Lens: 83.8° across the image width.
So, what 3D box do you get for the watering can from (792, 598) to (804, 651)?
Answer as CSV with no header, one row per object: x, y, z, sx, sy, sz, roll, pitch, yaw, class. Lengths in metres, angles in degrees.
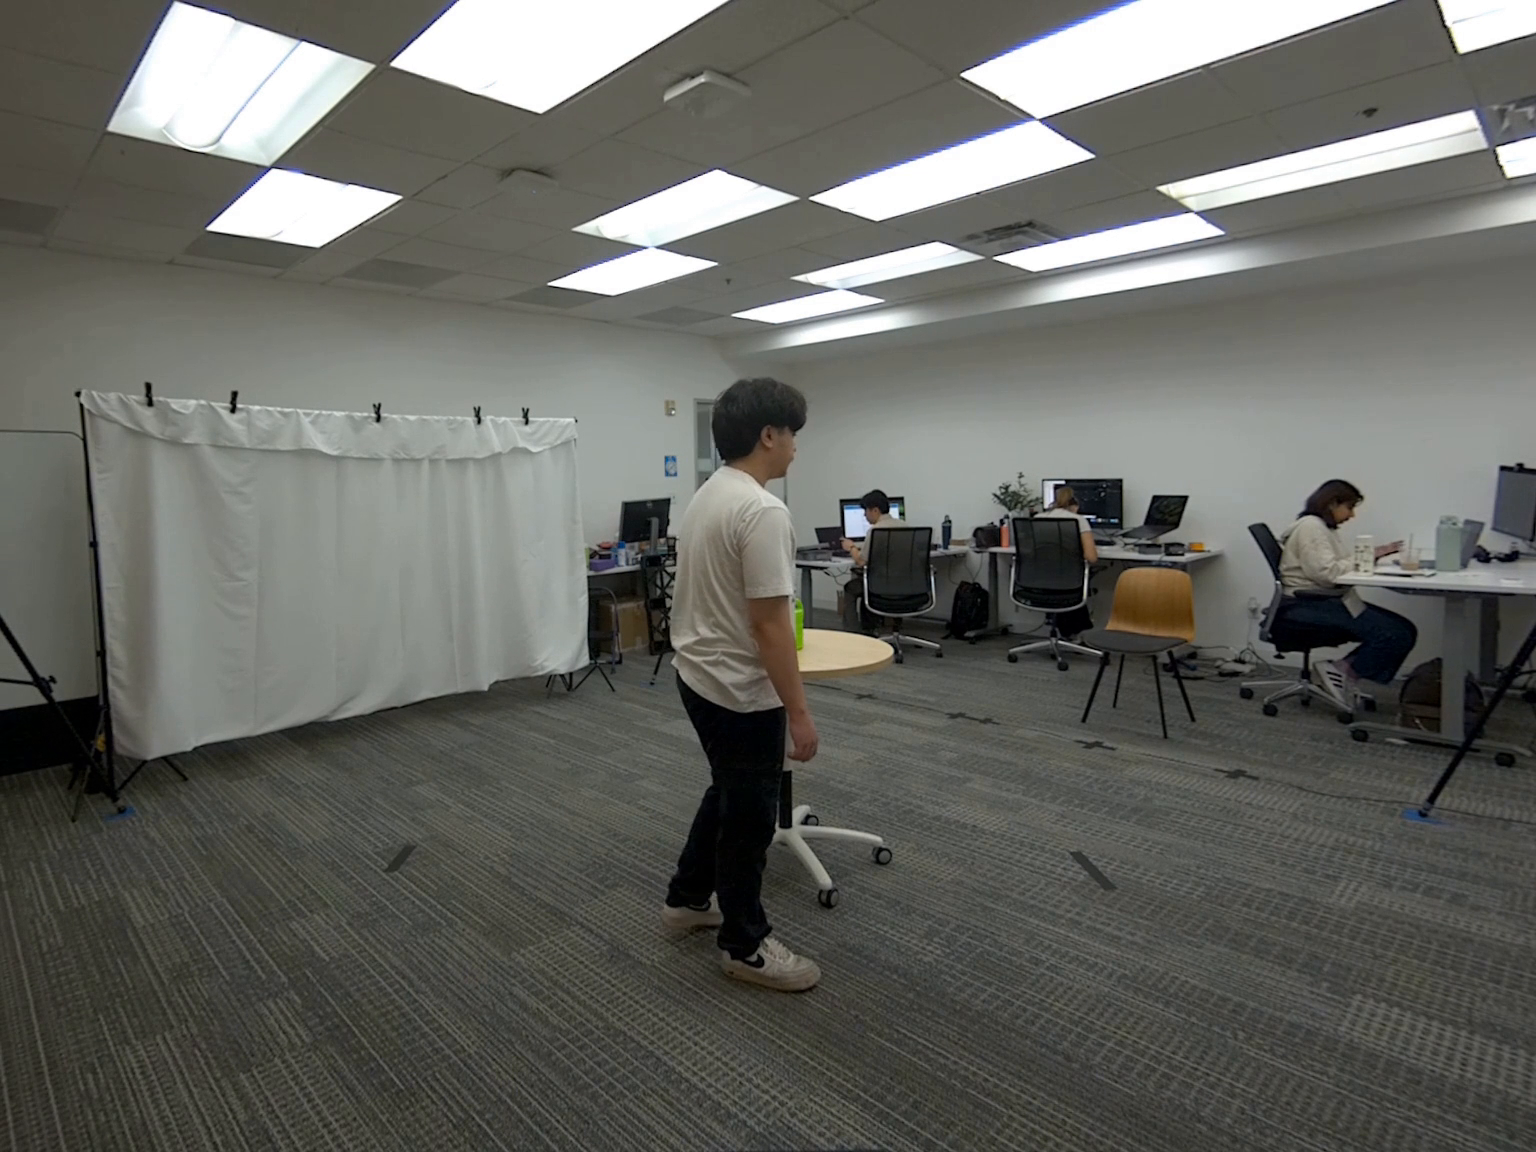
0.058,0.168,2.991,0.101,0.176,0.271,1,4,39,watering can
